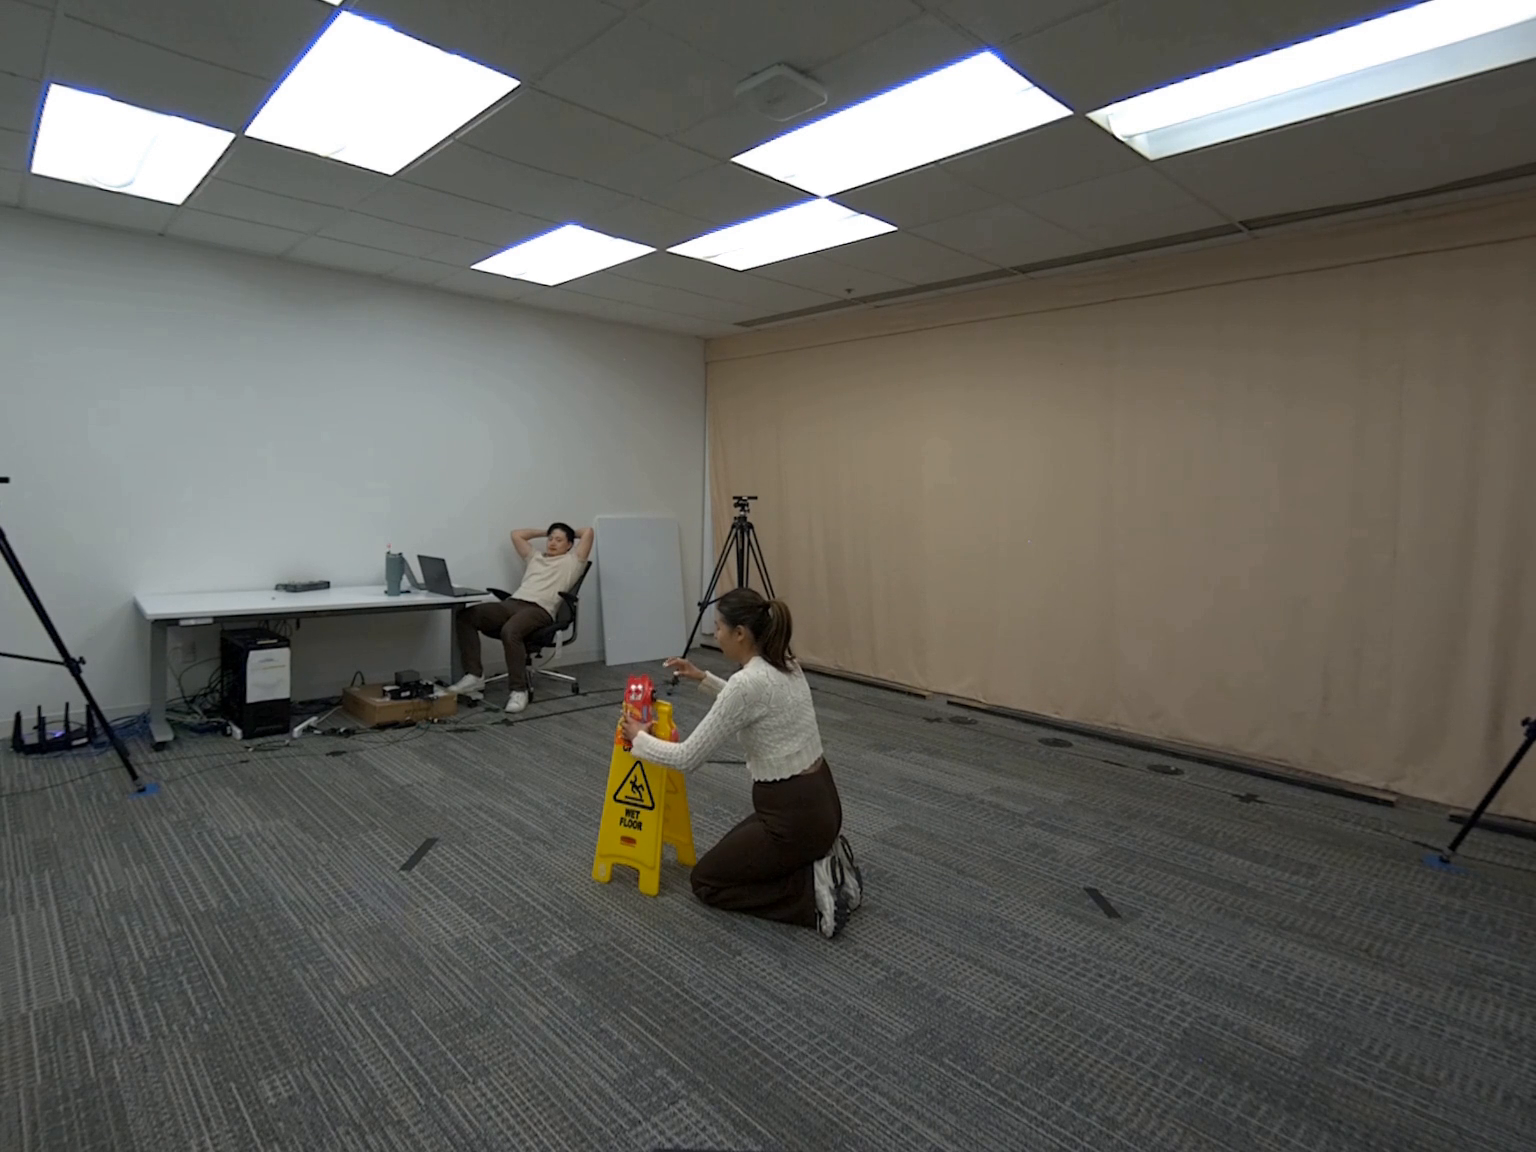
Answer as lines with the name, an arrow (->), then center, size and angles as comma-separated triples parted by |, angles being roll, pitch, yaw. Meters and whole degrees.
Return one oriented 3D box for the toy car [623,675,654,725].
toy car -> -0.468, 0.482, 3.043 | 0.132, 0.255, 0.082 | -4, -3, 17
